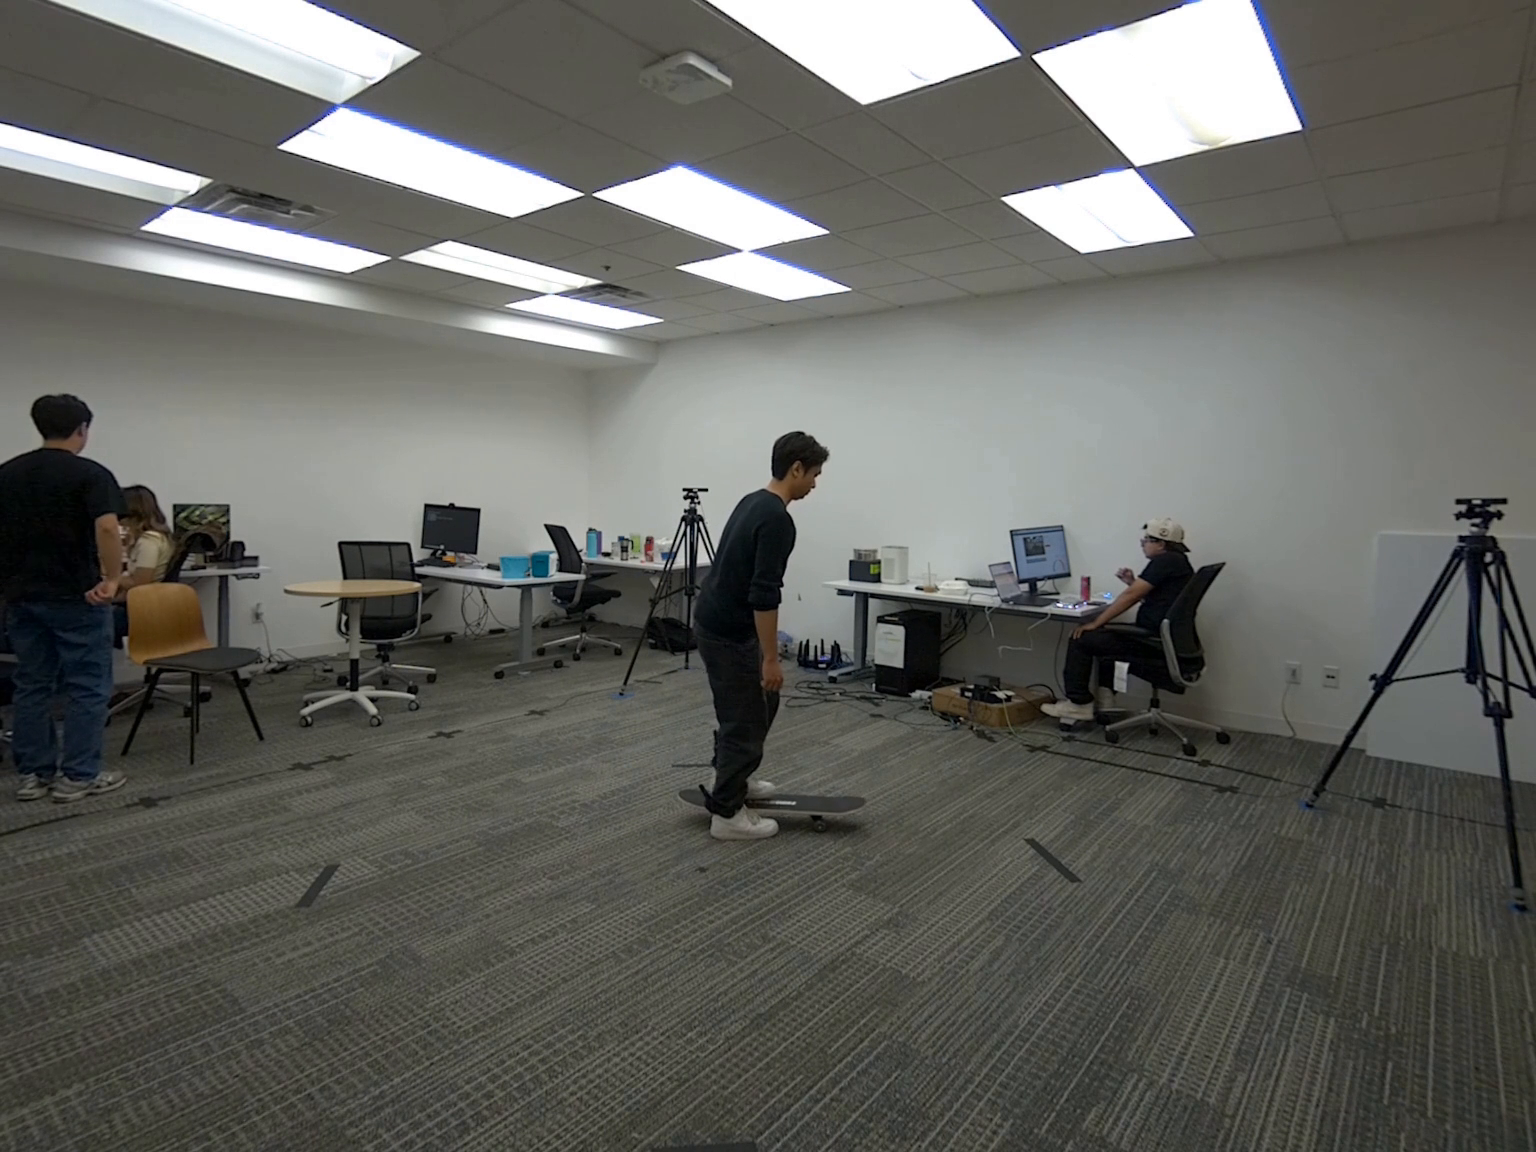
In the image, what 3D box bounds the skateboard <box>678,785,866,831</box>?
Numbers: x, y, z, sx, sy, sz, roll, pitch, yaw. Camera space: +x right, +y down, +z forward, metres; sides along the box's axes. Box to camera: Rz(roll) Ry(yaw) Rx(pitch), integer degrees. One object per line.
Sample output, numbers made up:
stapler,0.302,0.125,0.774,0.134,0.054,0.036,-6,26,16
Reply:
skateboard,0.004,0.977,3.568,0.787,0.110,0.194,2,5,2
